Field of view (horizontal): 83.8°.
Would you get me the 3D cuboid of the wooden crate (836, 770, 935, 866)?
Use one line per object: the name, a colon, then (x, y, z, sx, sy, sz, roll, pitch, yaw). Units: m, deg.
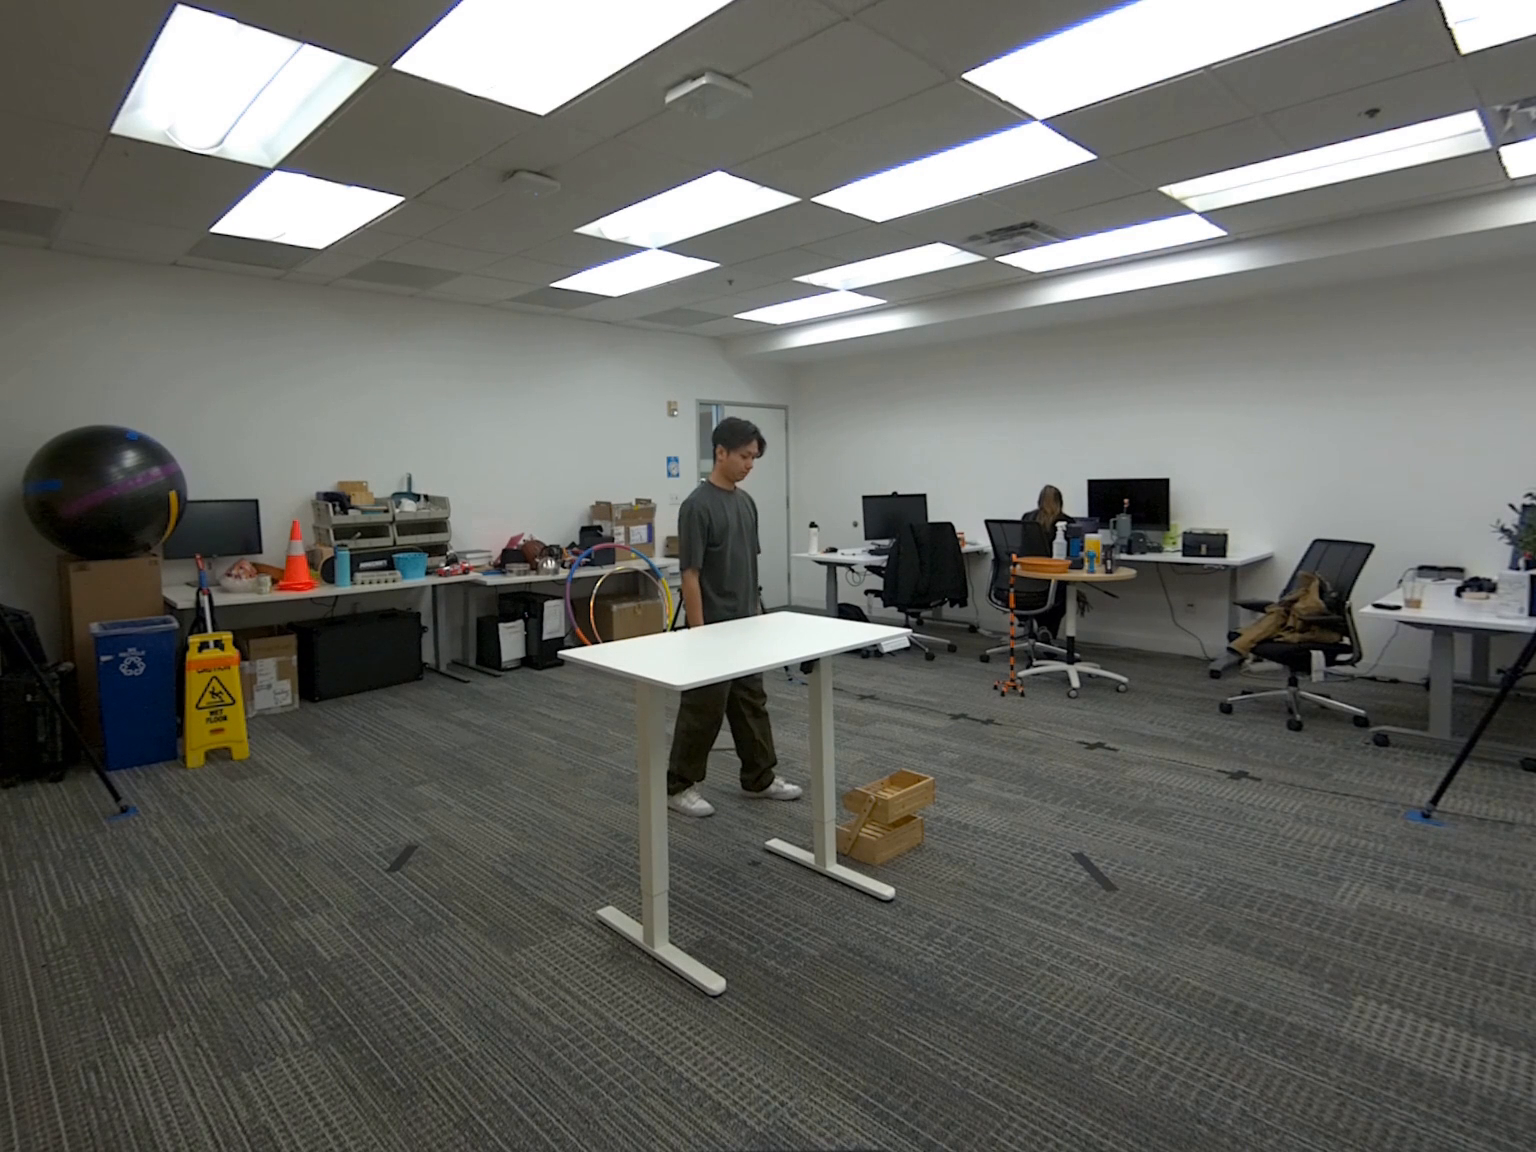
wooden crate: (0.420, 0.890, 3.232, 0.311, 0.272, 0.316, 4, 8, 45)
